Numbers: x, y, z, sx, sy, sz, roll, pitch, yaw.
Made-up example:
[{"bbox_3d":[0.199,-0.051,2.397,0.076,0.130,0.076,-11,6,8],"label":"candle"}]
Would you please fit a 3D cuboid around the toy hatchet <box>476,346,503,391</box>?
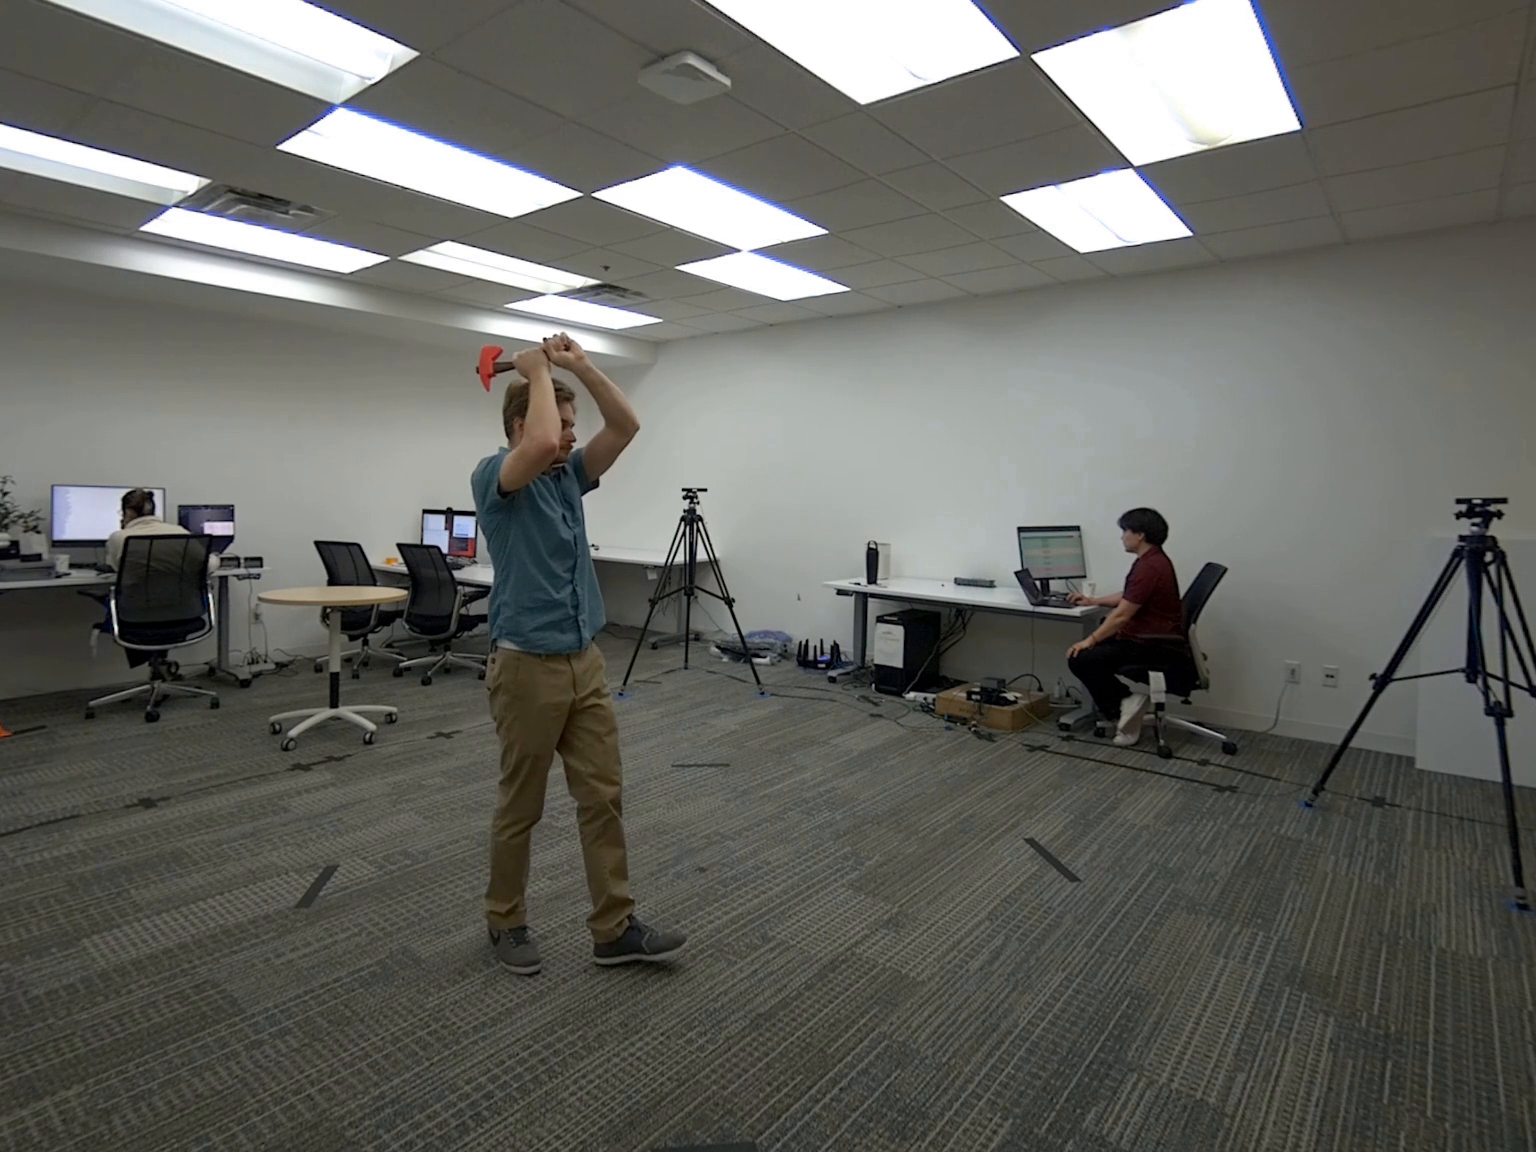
[{"bbox_3d":[-0.705,-0.630,2.388,0.271,0.133,0.029,-27,-12,6],"label":"toy hatchet"}]
